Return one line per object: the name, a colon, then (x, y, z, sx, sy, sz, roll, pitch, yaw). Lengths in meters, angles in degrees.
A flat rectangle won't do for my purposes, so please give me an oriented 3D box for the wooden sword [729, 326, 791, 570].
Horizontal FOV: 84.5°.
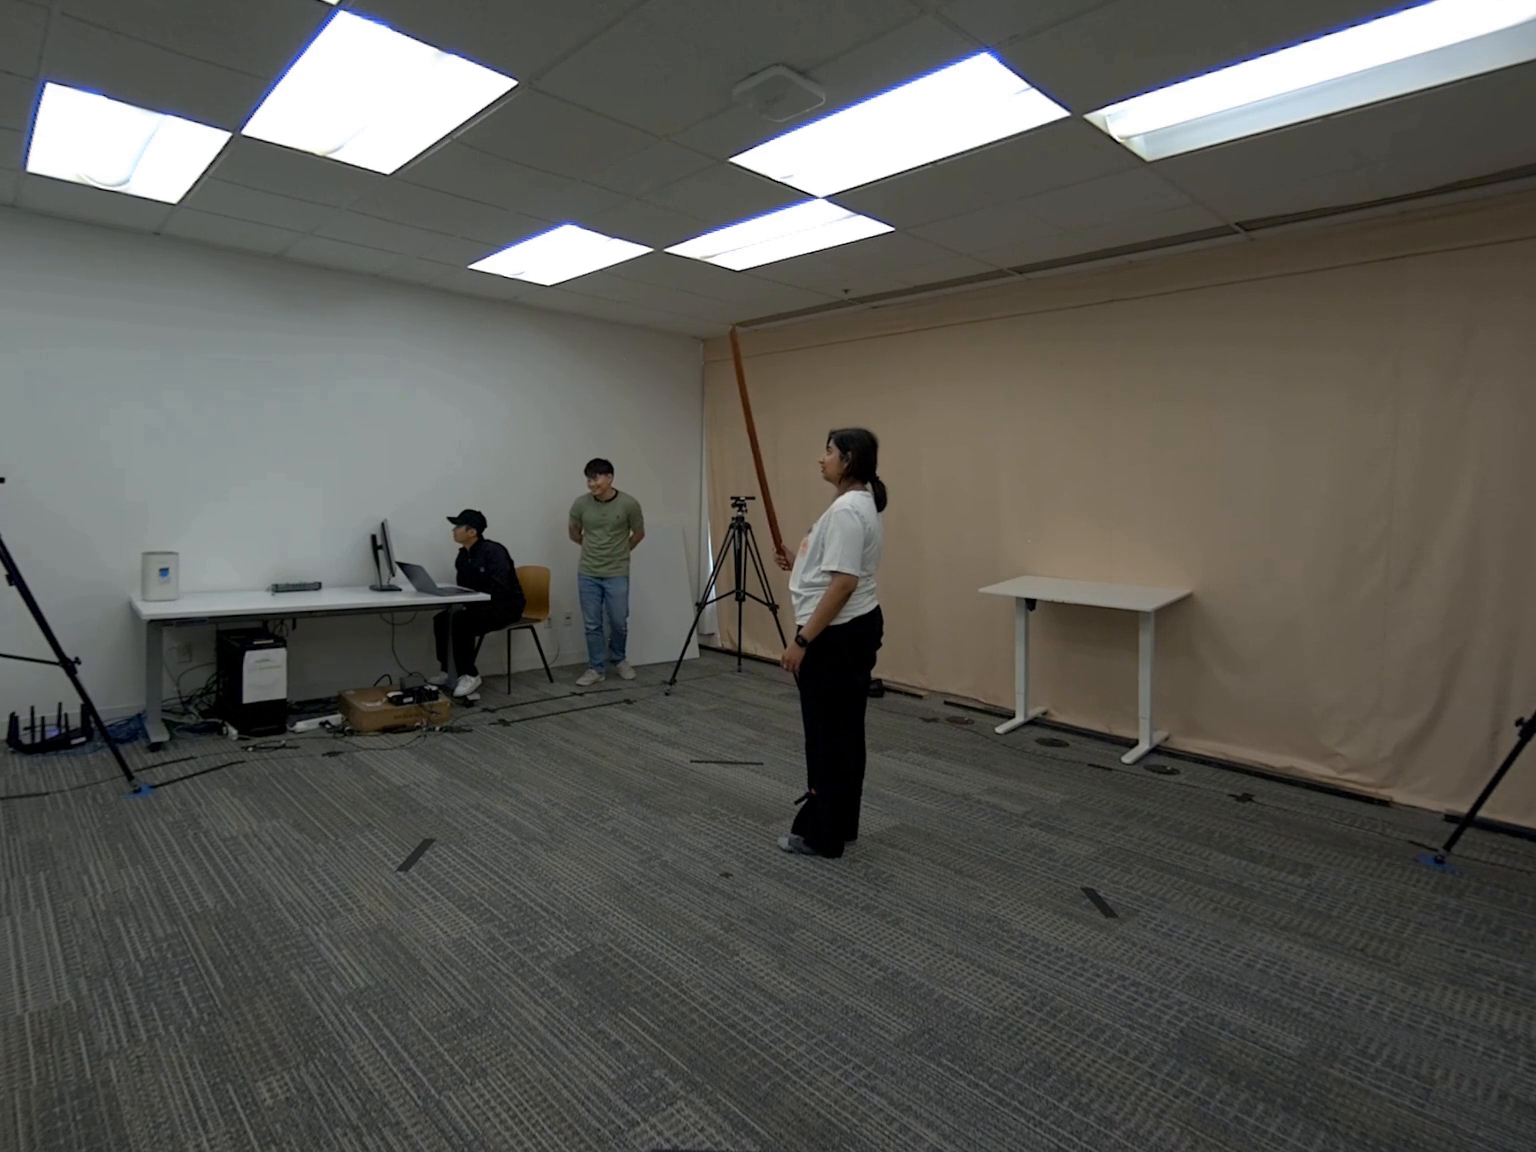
wooden sword: (-0.053, -0.502, 3.453, 0.024, 1.018, 0.051, -8, 8, 27)
